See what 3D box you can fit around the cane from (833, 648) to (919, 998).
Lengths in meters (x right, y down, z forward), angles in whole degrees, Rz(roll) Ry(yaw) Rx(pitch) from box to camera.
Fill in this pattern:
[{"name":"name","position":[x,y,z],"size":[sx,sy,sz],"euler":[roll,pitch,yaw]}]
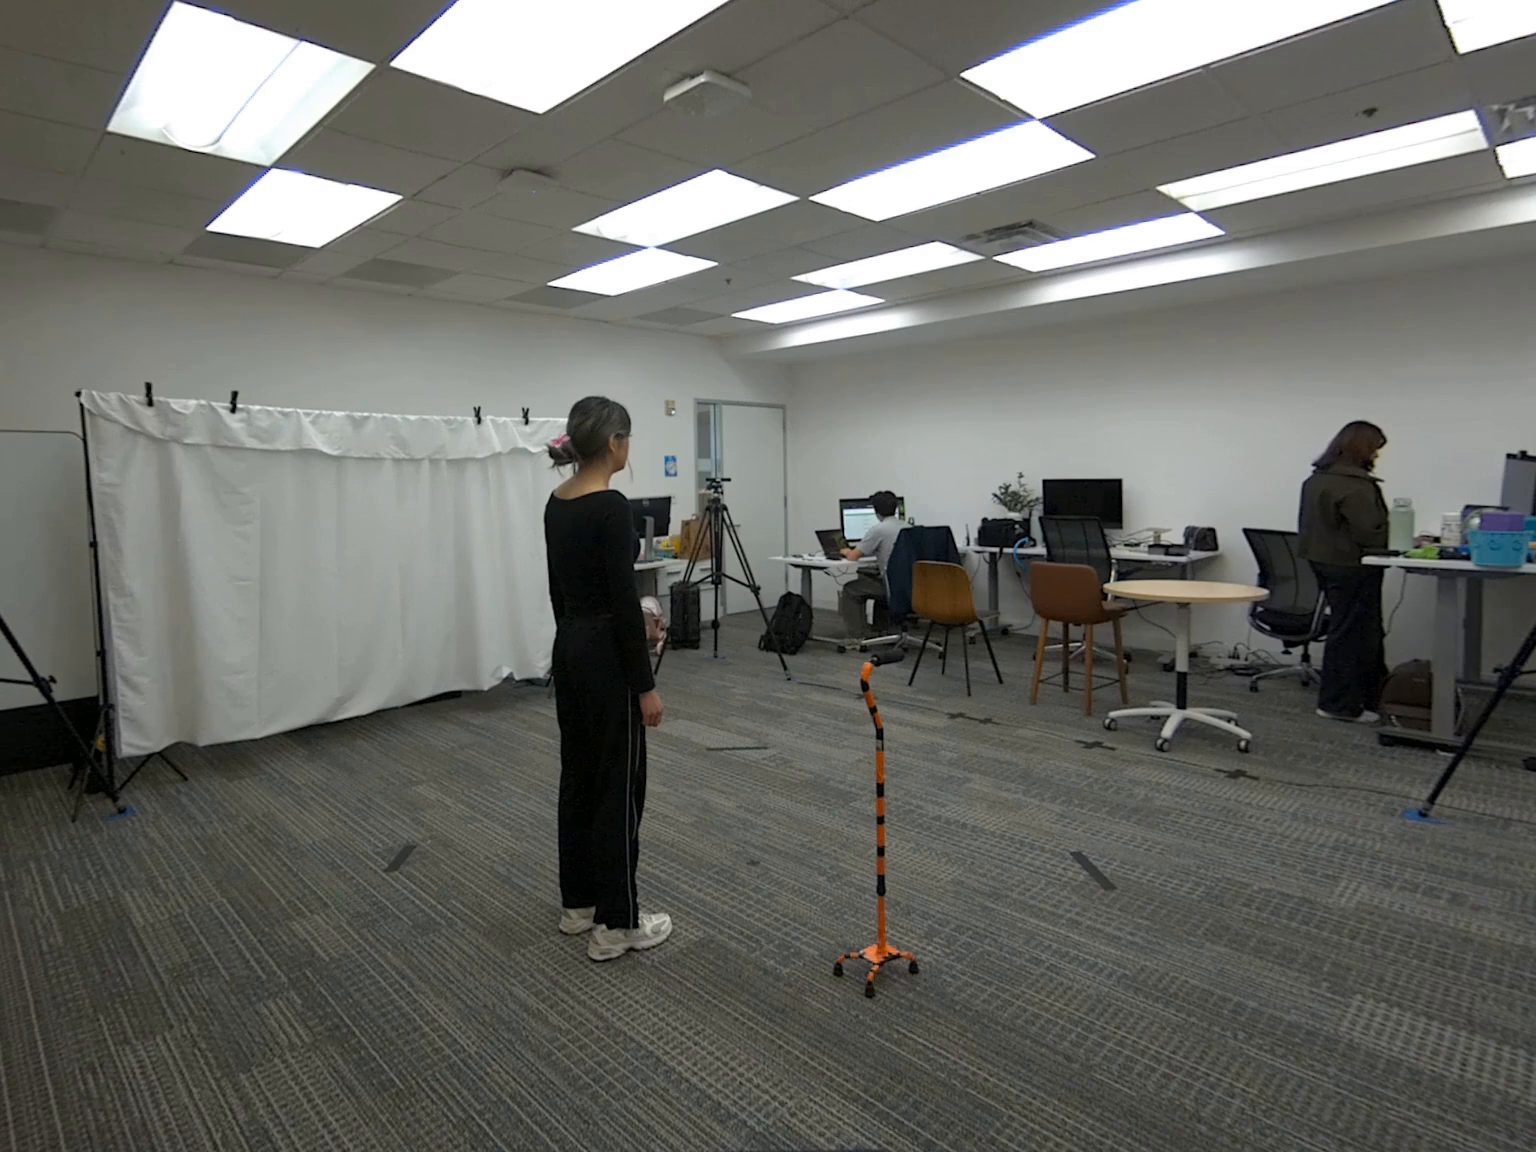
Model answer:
[{"name":"cane","position":[0.297,0.660,2.385],"size":[0.201,0.904,0.156],"euler":[-4,5,-38]}]
